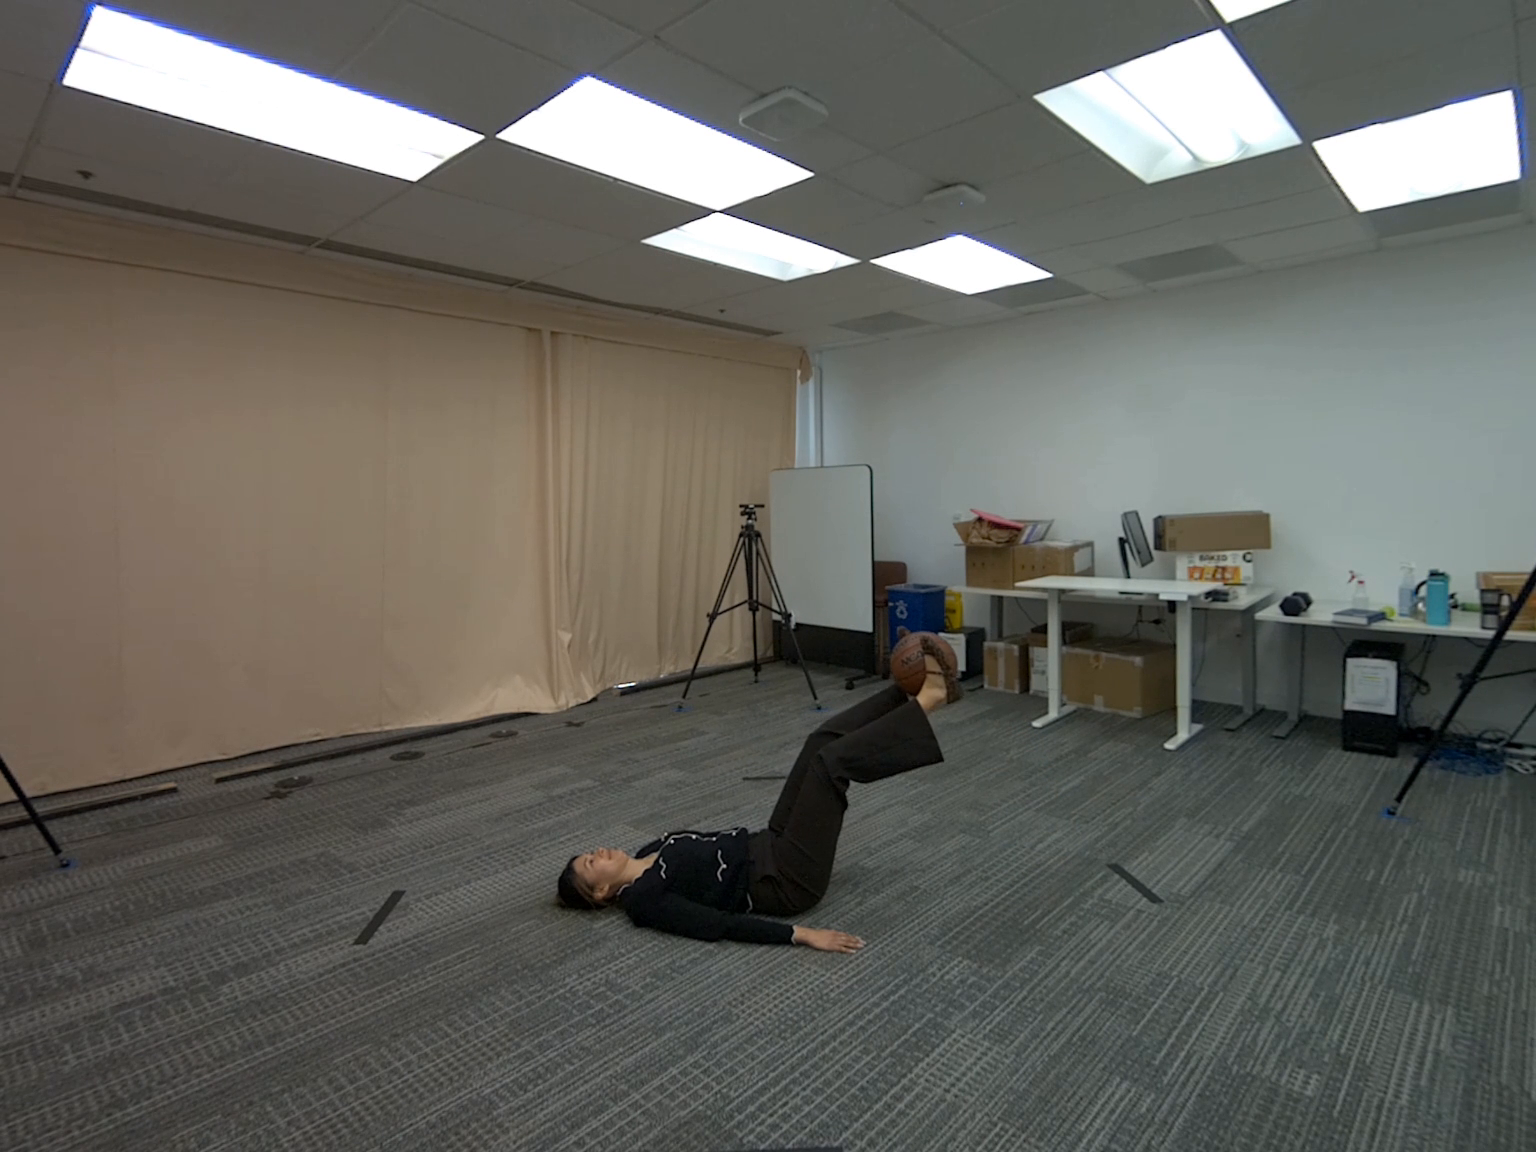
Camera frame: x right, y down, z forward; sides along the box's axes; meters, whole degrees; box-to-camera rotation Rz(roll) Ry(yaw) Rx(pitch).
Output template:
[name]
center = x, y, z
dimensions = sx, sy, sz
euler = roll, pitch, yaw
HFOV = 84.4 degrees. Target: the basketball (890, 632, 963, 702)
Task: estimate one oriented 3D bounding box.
[basketball]
center = 0.560, 0.316, 3.005
dimensions = 0.236, 0.236, 0.236
euler = 0, 1, -2
